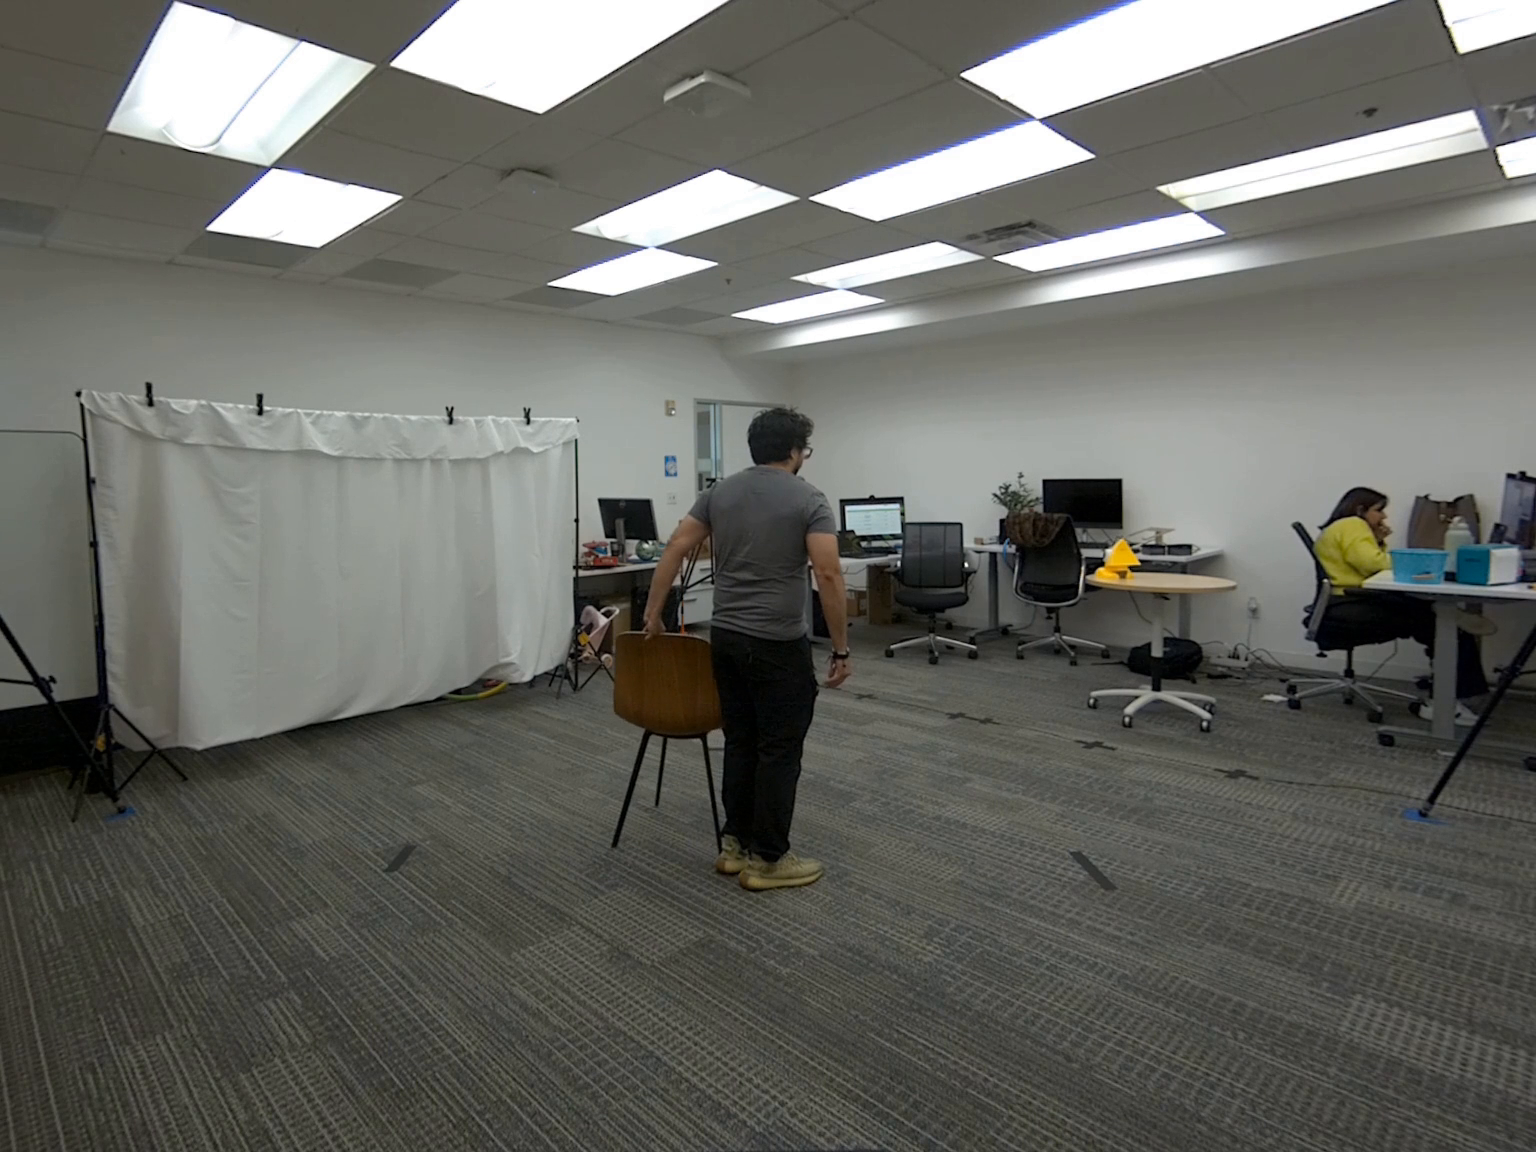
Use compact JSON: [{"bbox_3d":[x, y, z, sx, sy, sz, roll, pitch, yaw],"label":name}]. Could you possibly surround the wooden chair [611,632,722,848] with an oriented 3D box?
[{"bbox_3d":[-0.333,0.585,3.379,0.486,0.871,0.519,0,9,16],"label":"wooden chair"}]
